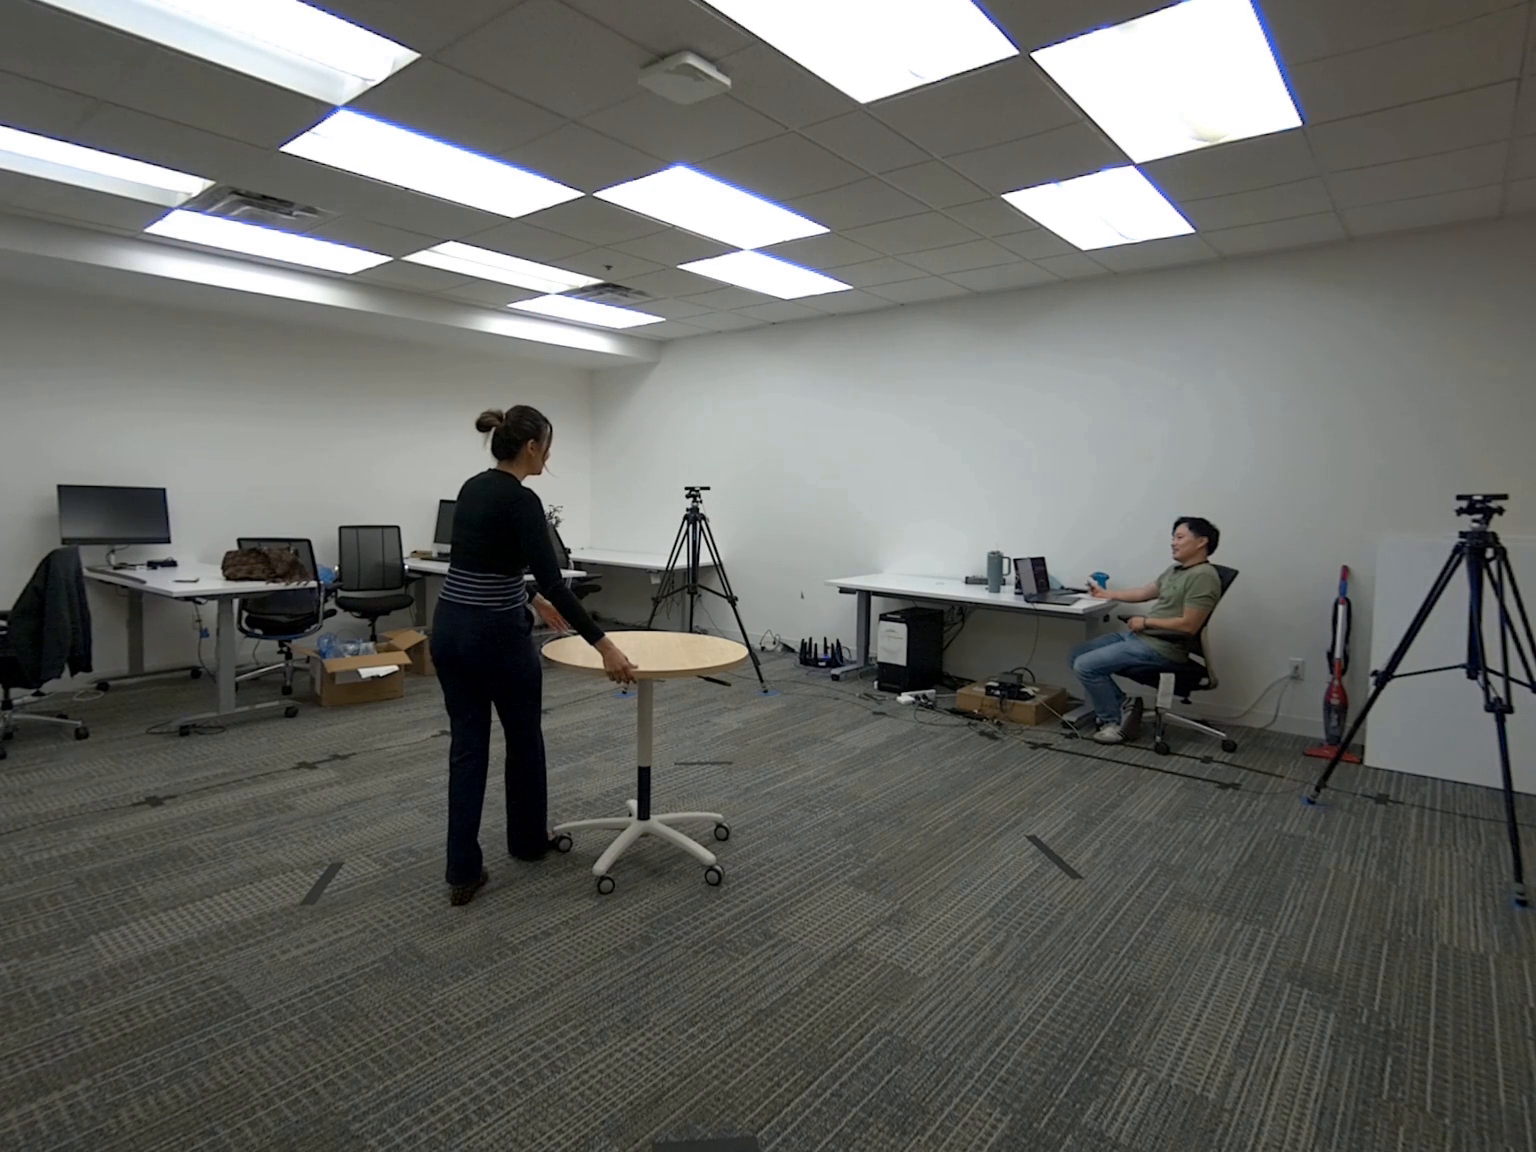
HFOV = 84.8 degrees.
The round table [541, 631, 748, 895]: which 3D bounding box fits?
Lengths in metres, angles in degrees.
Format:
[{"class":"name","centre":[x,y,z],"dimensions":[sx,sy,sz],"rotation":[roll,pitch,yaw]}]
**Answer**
[{"class":"round table","centre":[-0.470,0.664,3.191],"dimensions":[0.763,0.792,0.767],"rotation":[1,4,-2]}]
